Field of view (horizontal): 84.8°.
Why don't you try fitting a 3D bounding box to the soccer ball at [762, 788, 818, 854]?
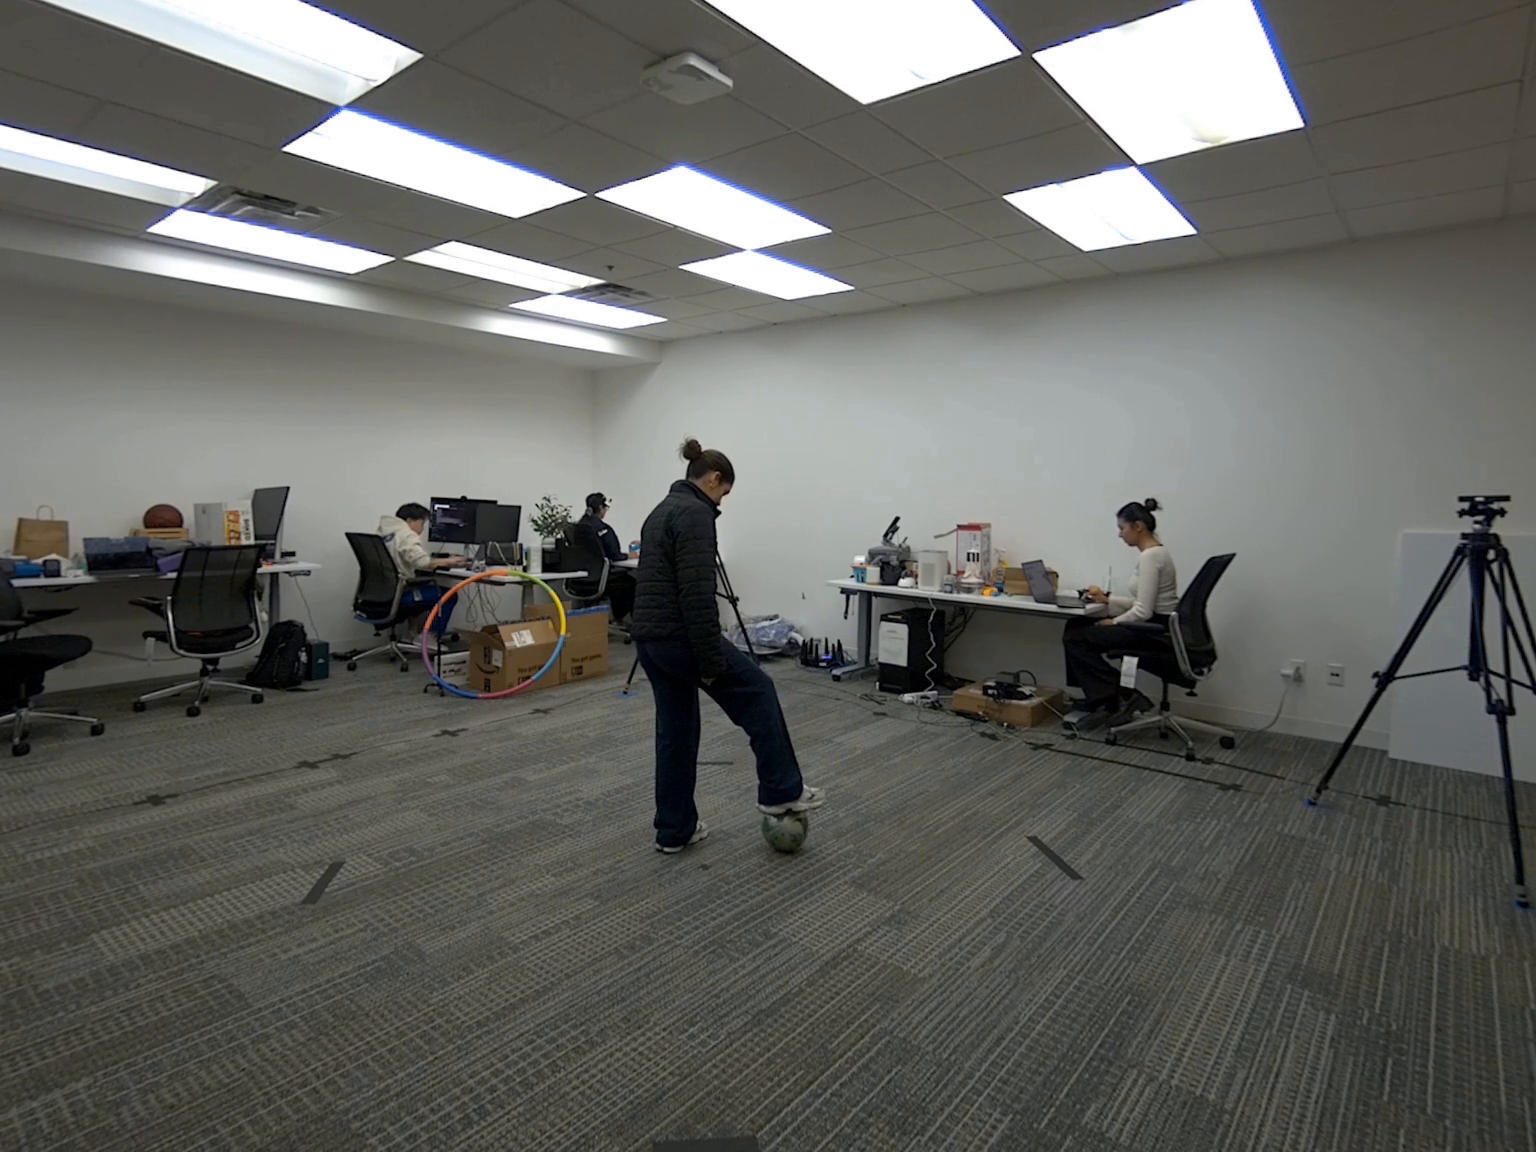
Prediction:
[{"bbox_3d":[0.057,0.963,3.282,0.187,0.187,0.188,1,4,-2],"label":"soccer ball"}]
